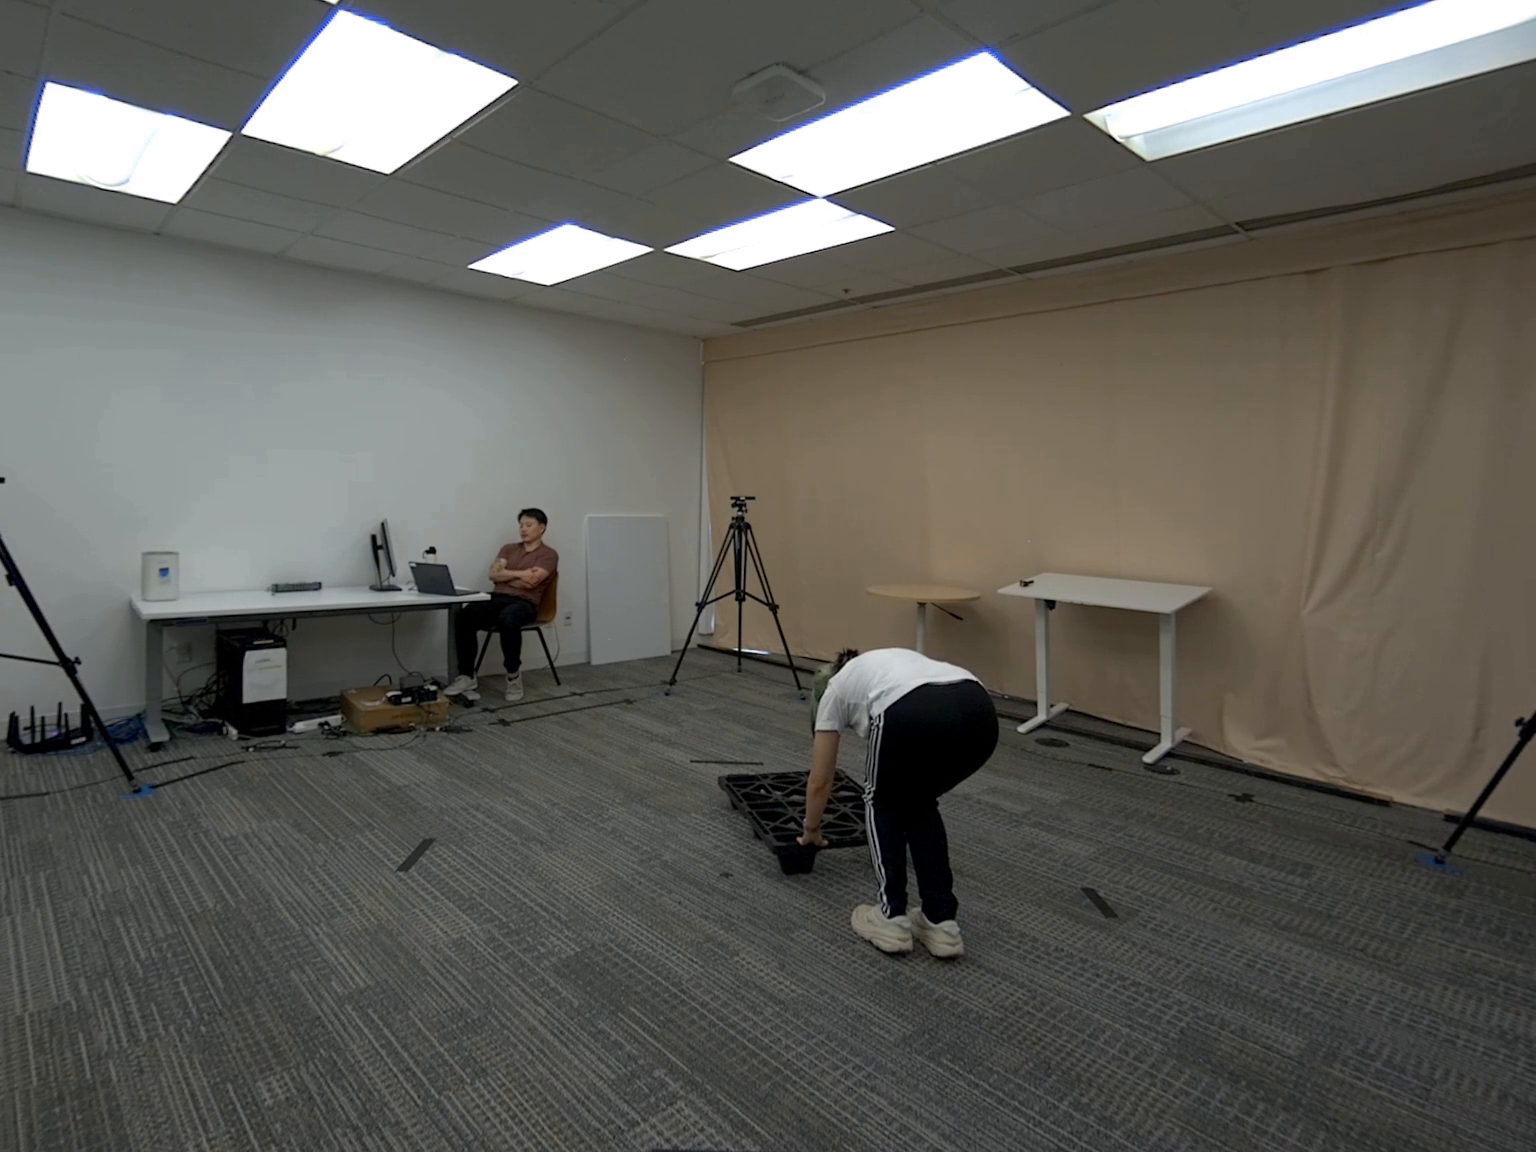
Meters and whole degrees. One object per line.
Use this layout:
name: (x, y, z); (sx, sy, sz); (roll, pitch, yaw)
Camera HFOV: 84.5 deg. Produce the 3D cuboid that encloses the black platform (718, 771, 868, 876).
black platform: (0.168, 1.008, 3.524); (0.597, 0.143, 0.818); (1, 5, -17)
